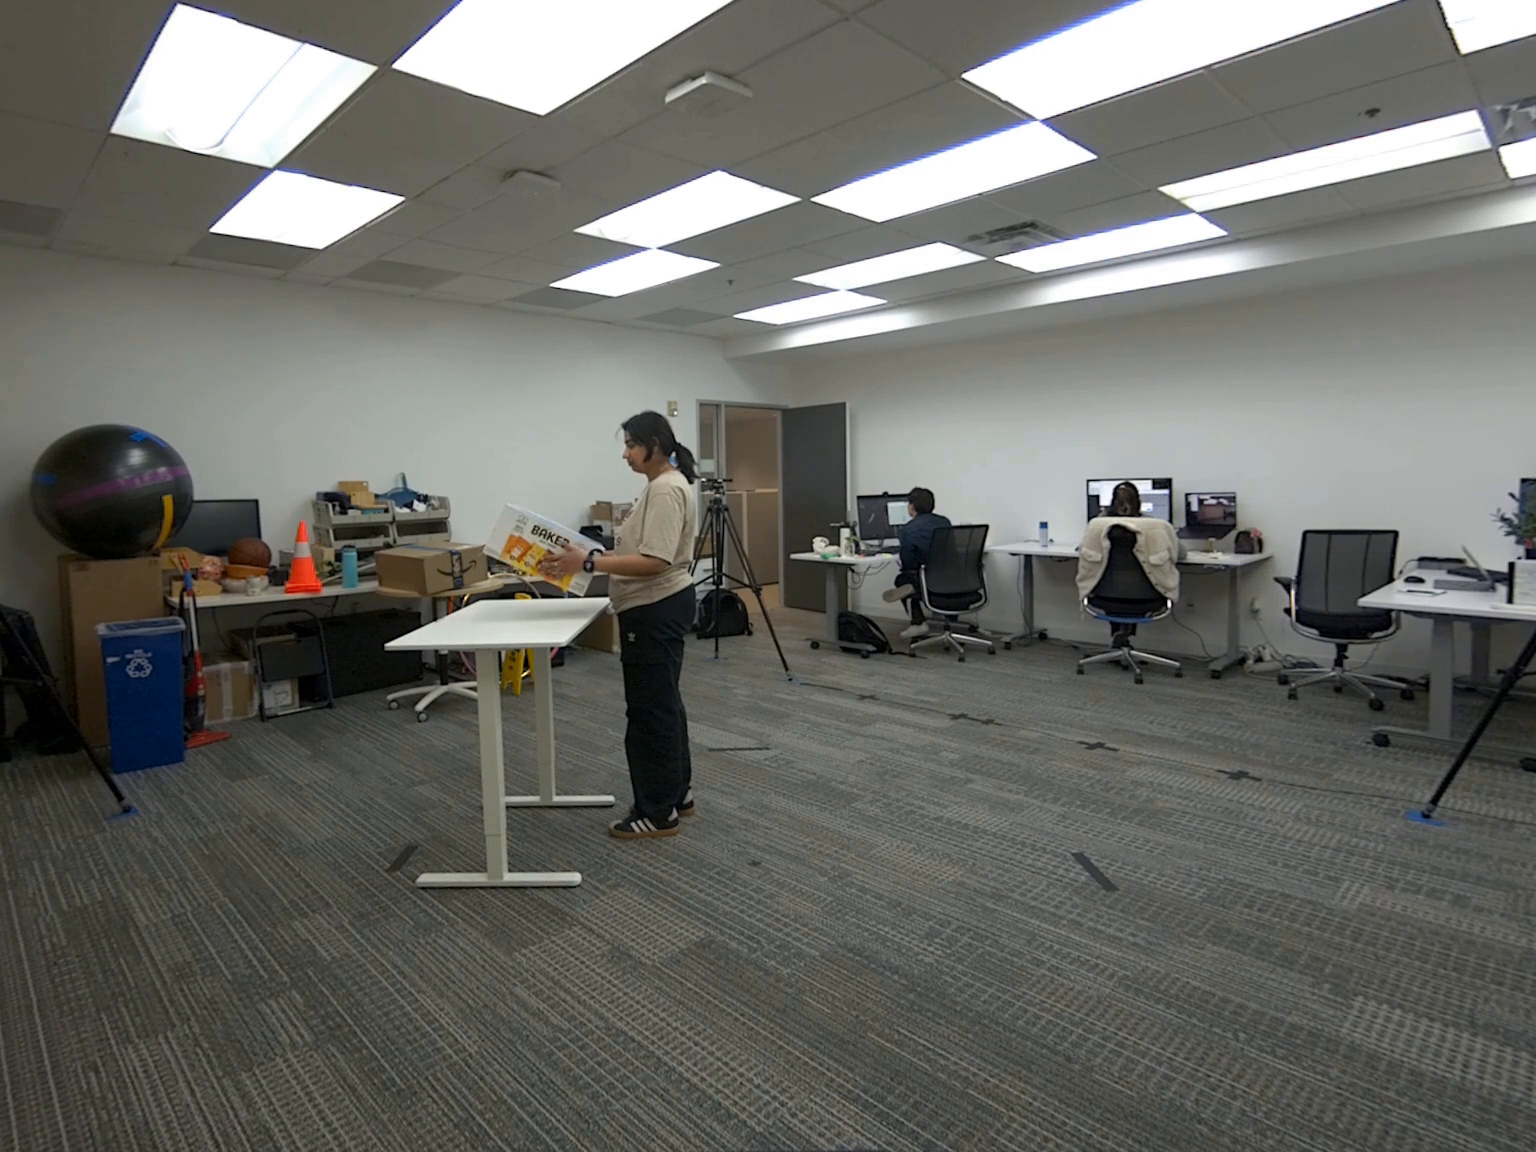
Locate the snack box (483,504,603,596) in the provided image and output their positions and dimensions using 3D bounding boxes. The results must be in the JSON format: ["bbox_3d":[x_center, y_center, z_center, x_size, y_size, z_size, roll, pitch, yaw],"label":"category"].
[{"bbox_3d":[-0.867,-0.111,3.347,0.398,0.206,0.346,26,-2,-14],"label":"snack box"}]
